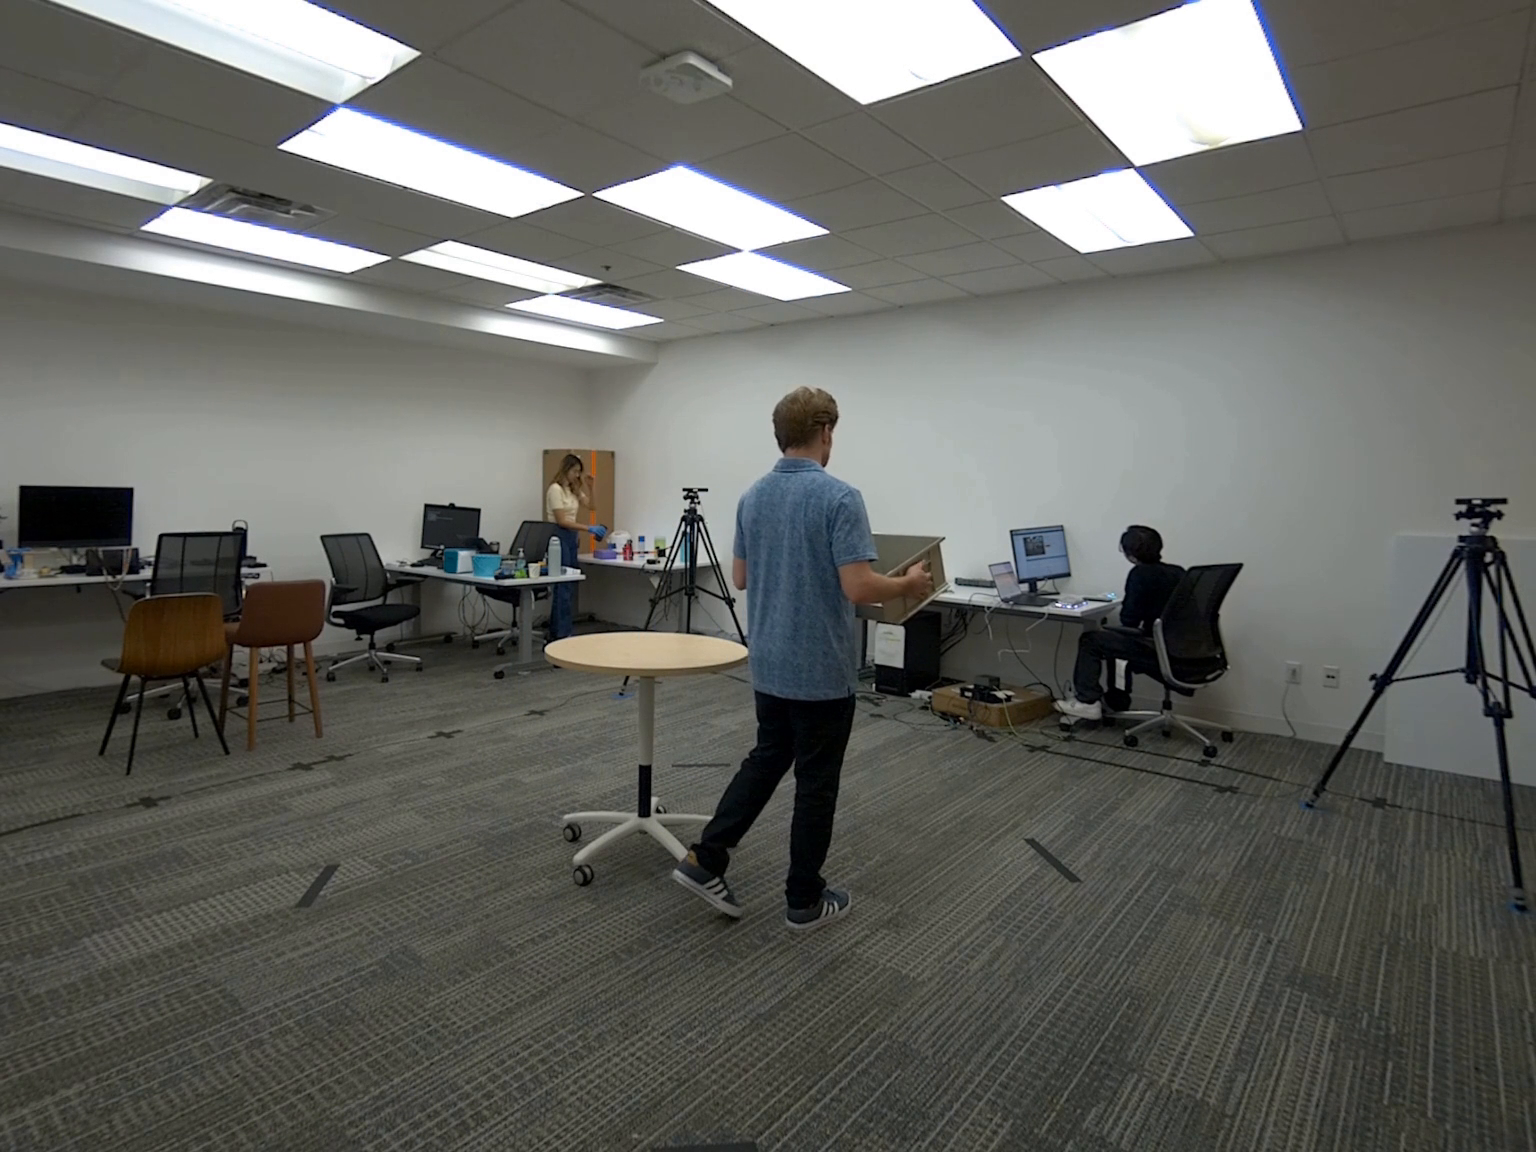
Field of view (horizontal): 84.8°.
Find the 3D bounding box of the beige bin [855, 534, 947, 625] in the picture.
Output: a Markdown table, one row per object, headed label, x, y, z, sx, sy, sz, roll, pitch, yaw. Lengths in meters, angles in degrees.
| label | x | y | z | sx | sy | sz | roll | pitch | yaw |
| --- | --- | --- | --- | --- | --- | --- | --- | --- | --- |
| beige bin | 0.325 | 0.003 | 2.910 | 0.371 | 0.185 | 0.437 | -27 | 22 | -39 |
